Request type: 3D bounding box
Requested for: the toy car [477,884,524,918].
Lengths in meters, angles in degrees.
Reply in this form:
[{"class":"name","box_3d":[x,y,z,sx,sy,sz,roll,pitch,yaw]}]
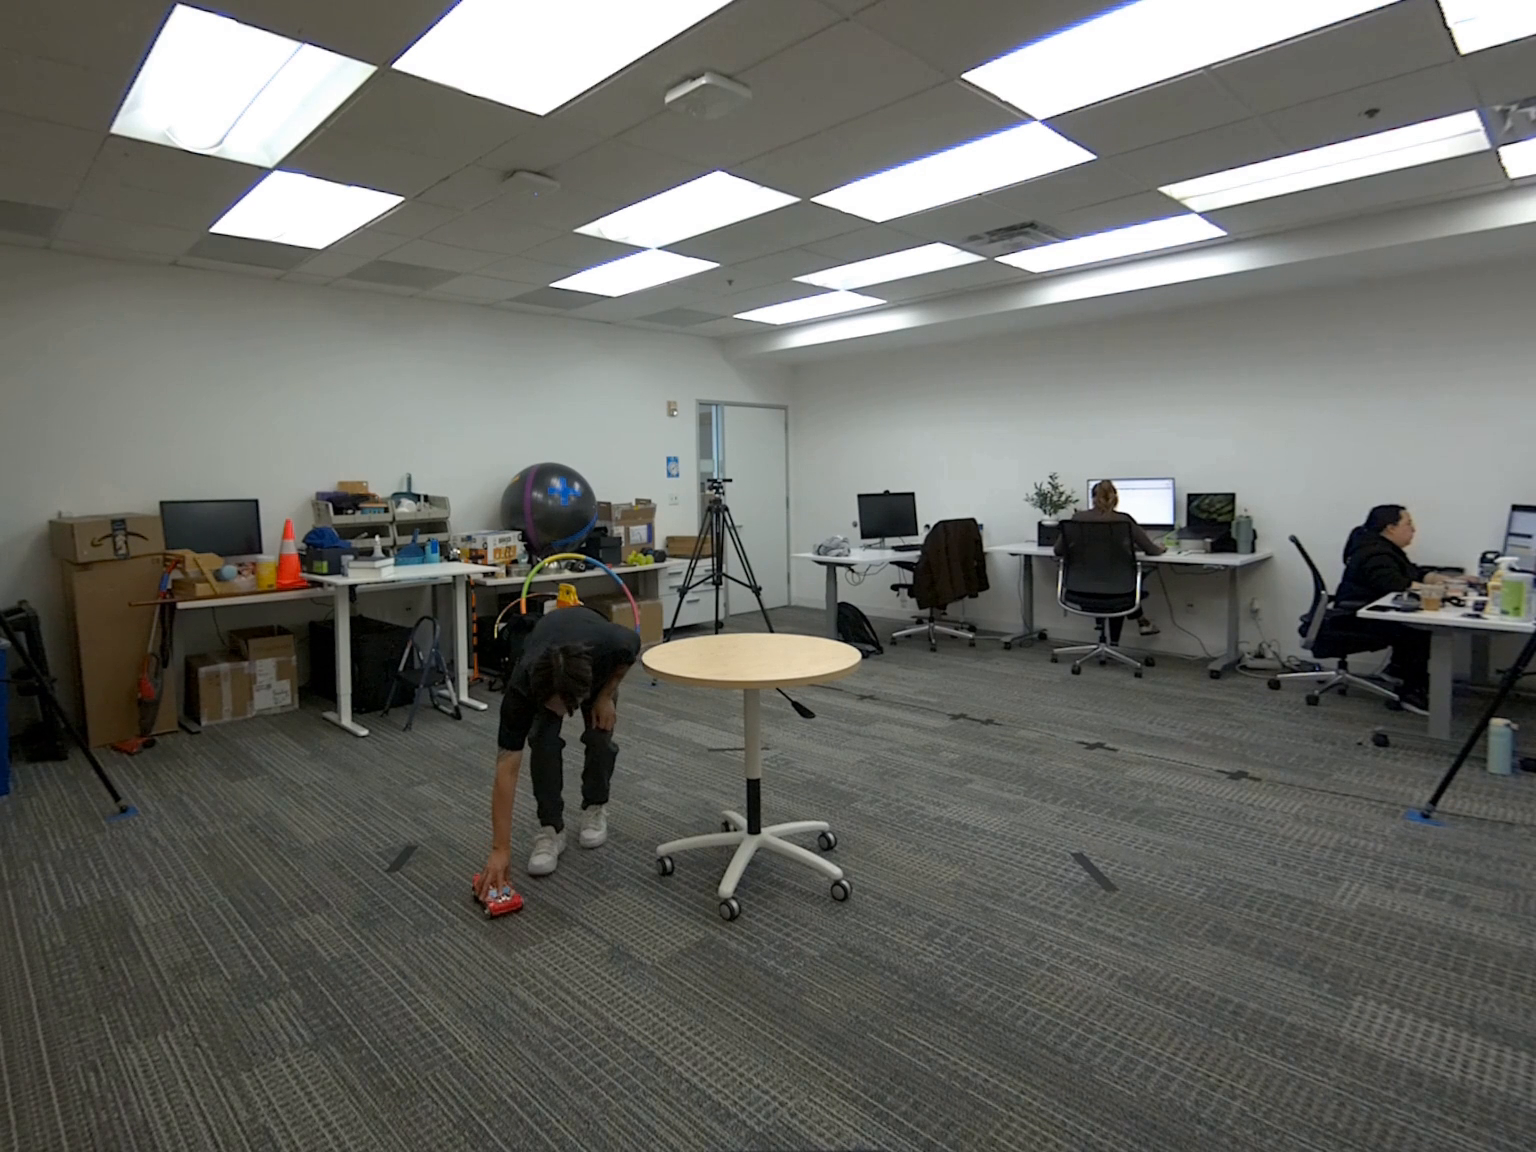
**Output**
[{"class":"toy car","box_3d":[-0.917,1.064,2.862,0.127,0.082,0.264,-5,18,-31]}]
